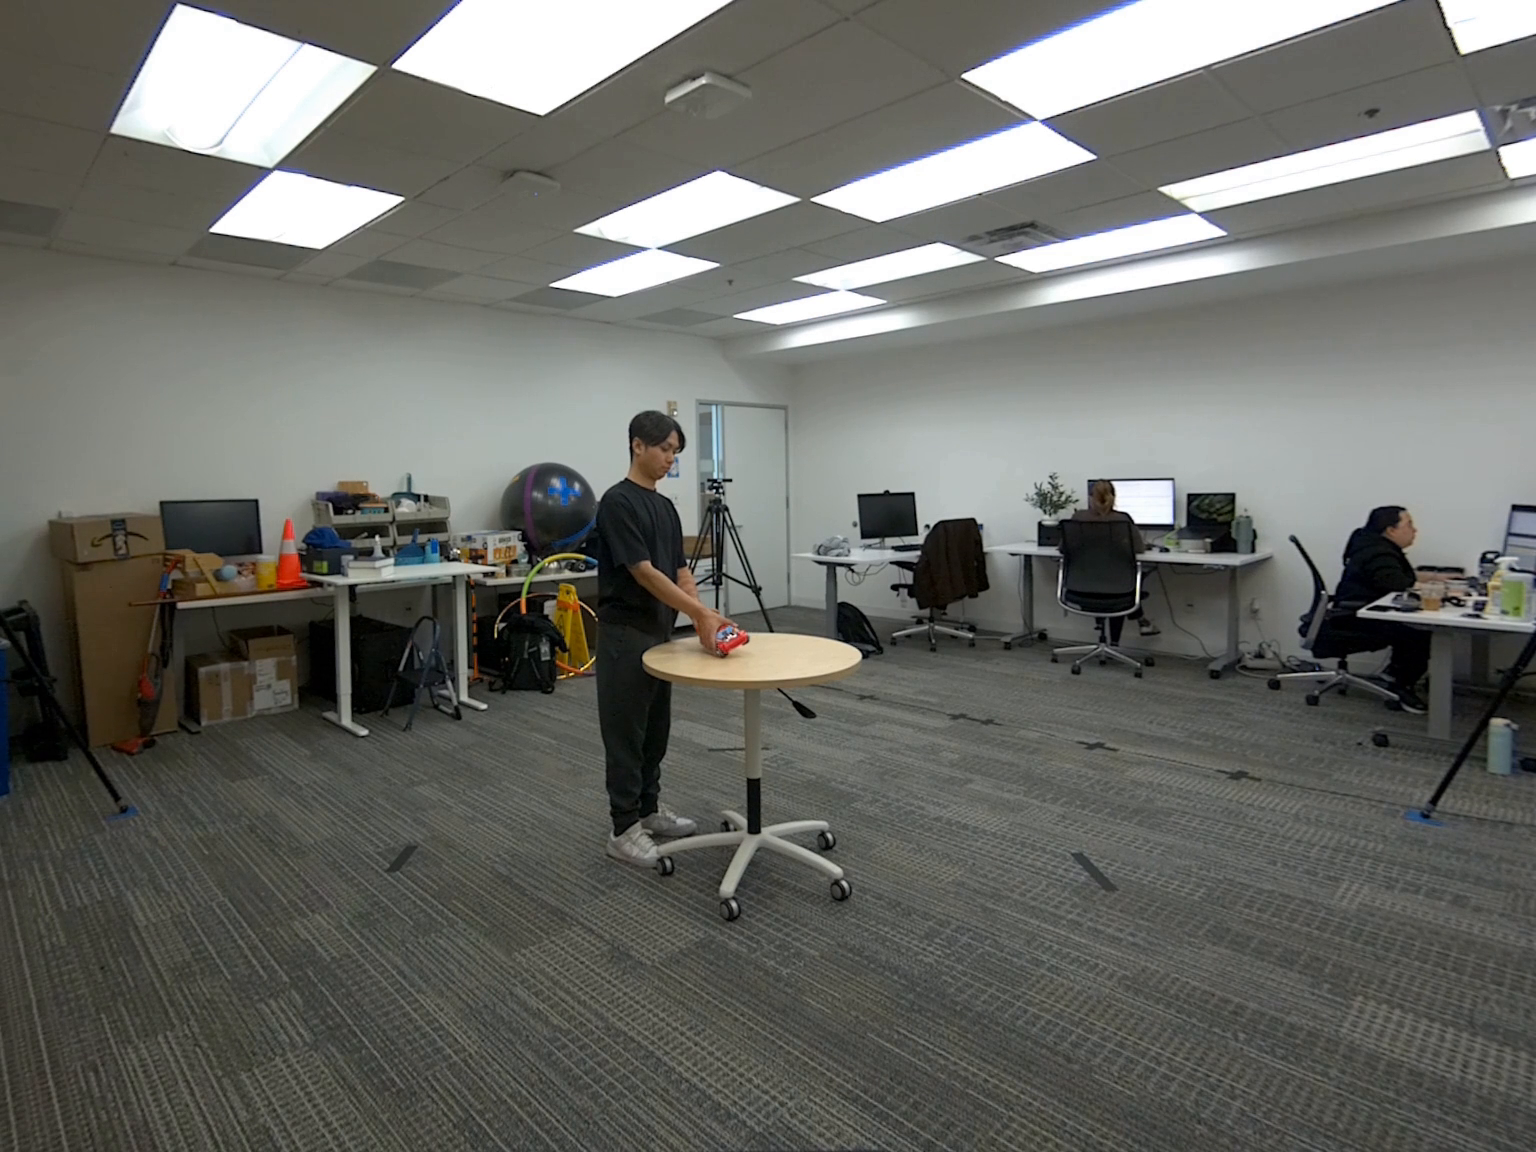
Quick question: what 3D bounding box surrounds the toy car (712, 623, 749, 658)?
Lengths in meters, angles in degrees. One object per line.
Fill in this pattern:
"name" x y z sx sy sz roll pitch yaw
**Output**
"toy car" -0.165 0.209 3.039 0.129 0.081 0.264 -28 32 -17
